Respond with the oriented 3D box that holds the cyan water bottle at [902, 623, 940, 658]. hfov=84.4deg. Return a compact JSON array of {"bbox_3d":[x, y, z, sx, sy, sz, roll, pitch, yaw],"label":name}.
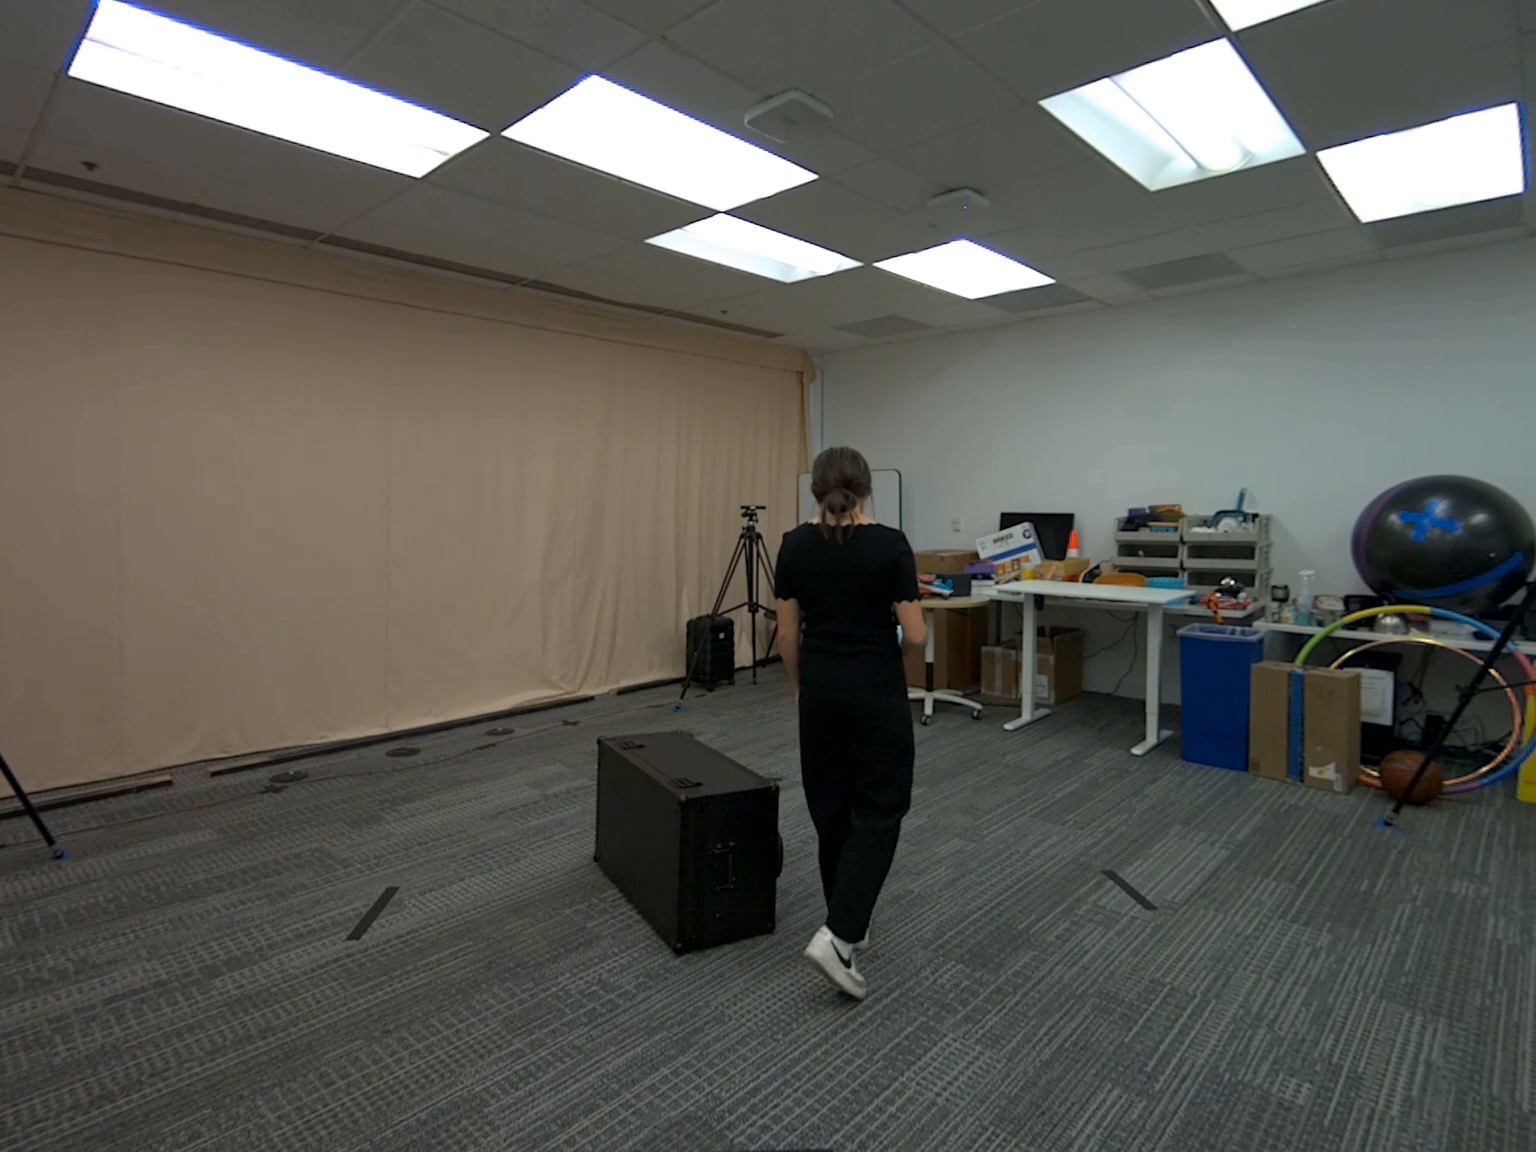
[{"bbox_3d":[0.447,0.209,2.775,0.095,0.092,0.274,3,3,41],"label":"cyan water bottle"}]
